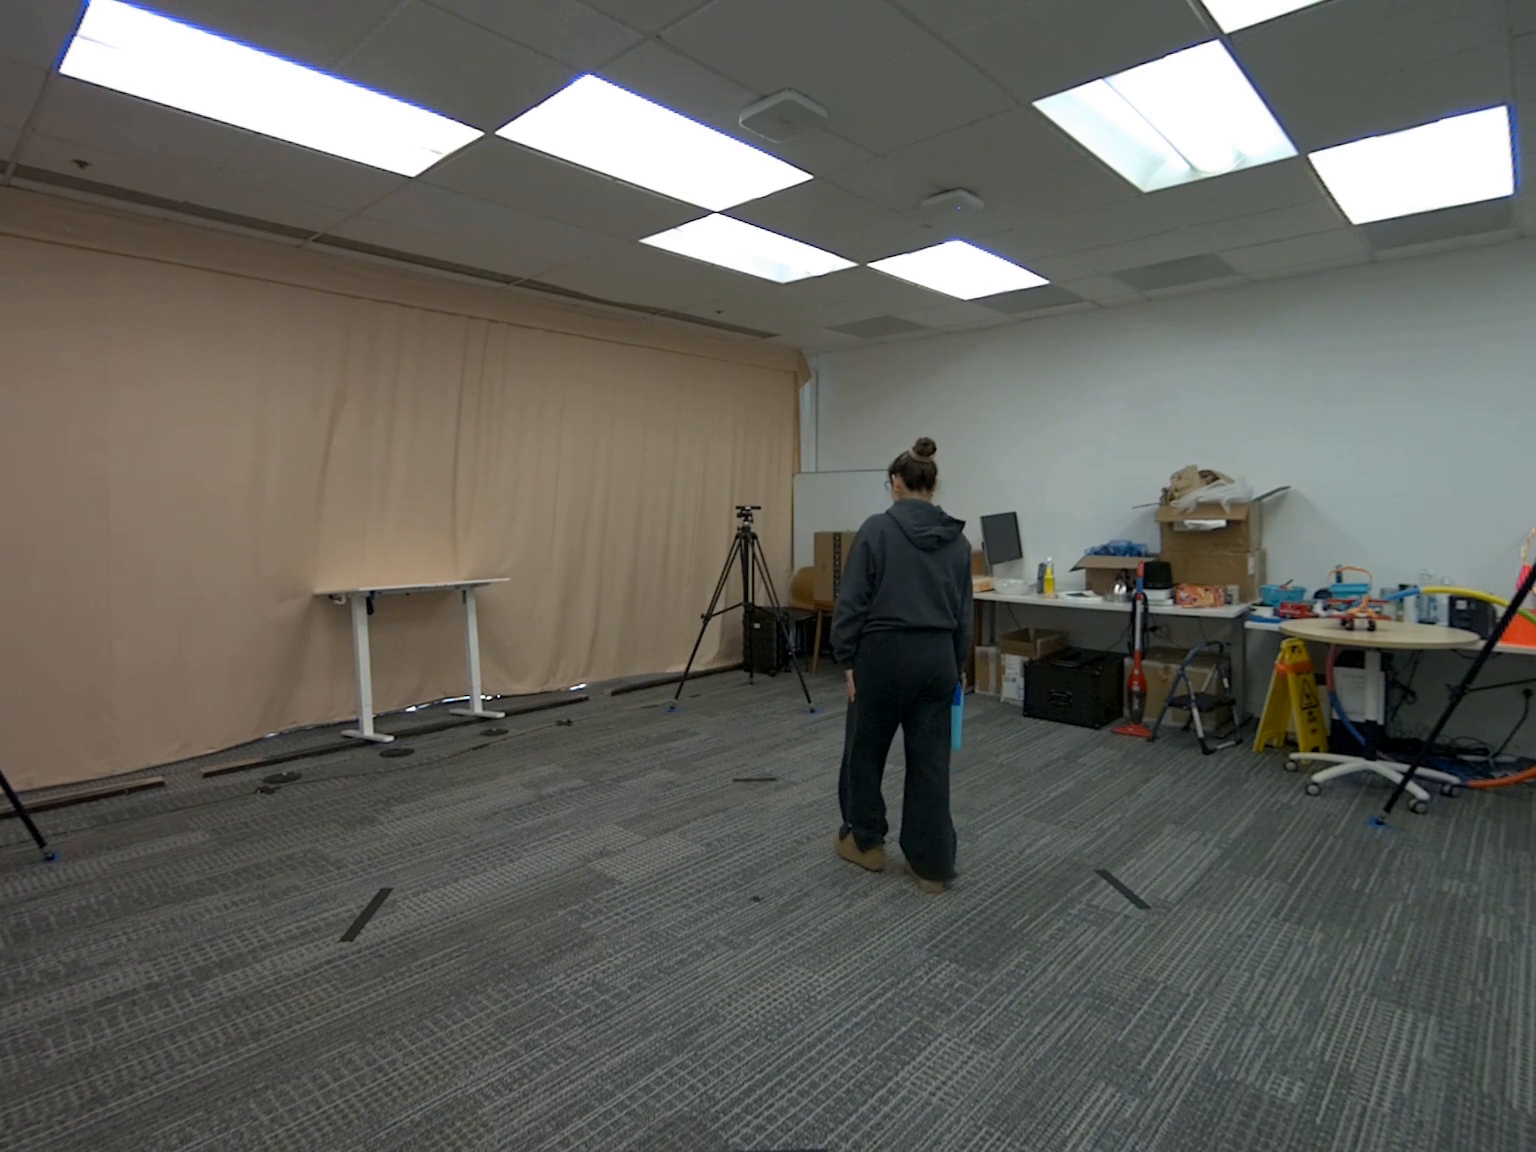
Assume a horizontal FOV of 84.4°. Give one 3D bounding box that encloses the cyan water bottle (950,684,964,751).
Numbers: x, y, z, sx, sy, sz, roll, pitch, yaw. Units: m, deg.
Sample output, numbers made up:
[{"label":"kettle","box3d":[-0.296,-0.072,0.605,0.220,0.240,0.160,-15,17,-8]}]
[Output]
[{"label":"cyan water bottle","box3d":[0.742,0.527,3.313,0.092,0.283,0.092,1,2,-2]}]
